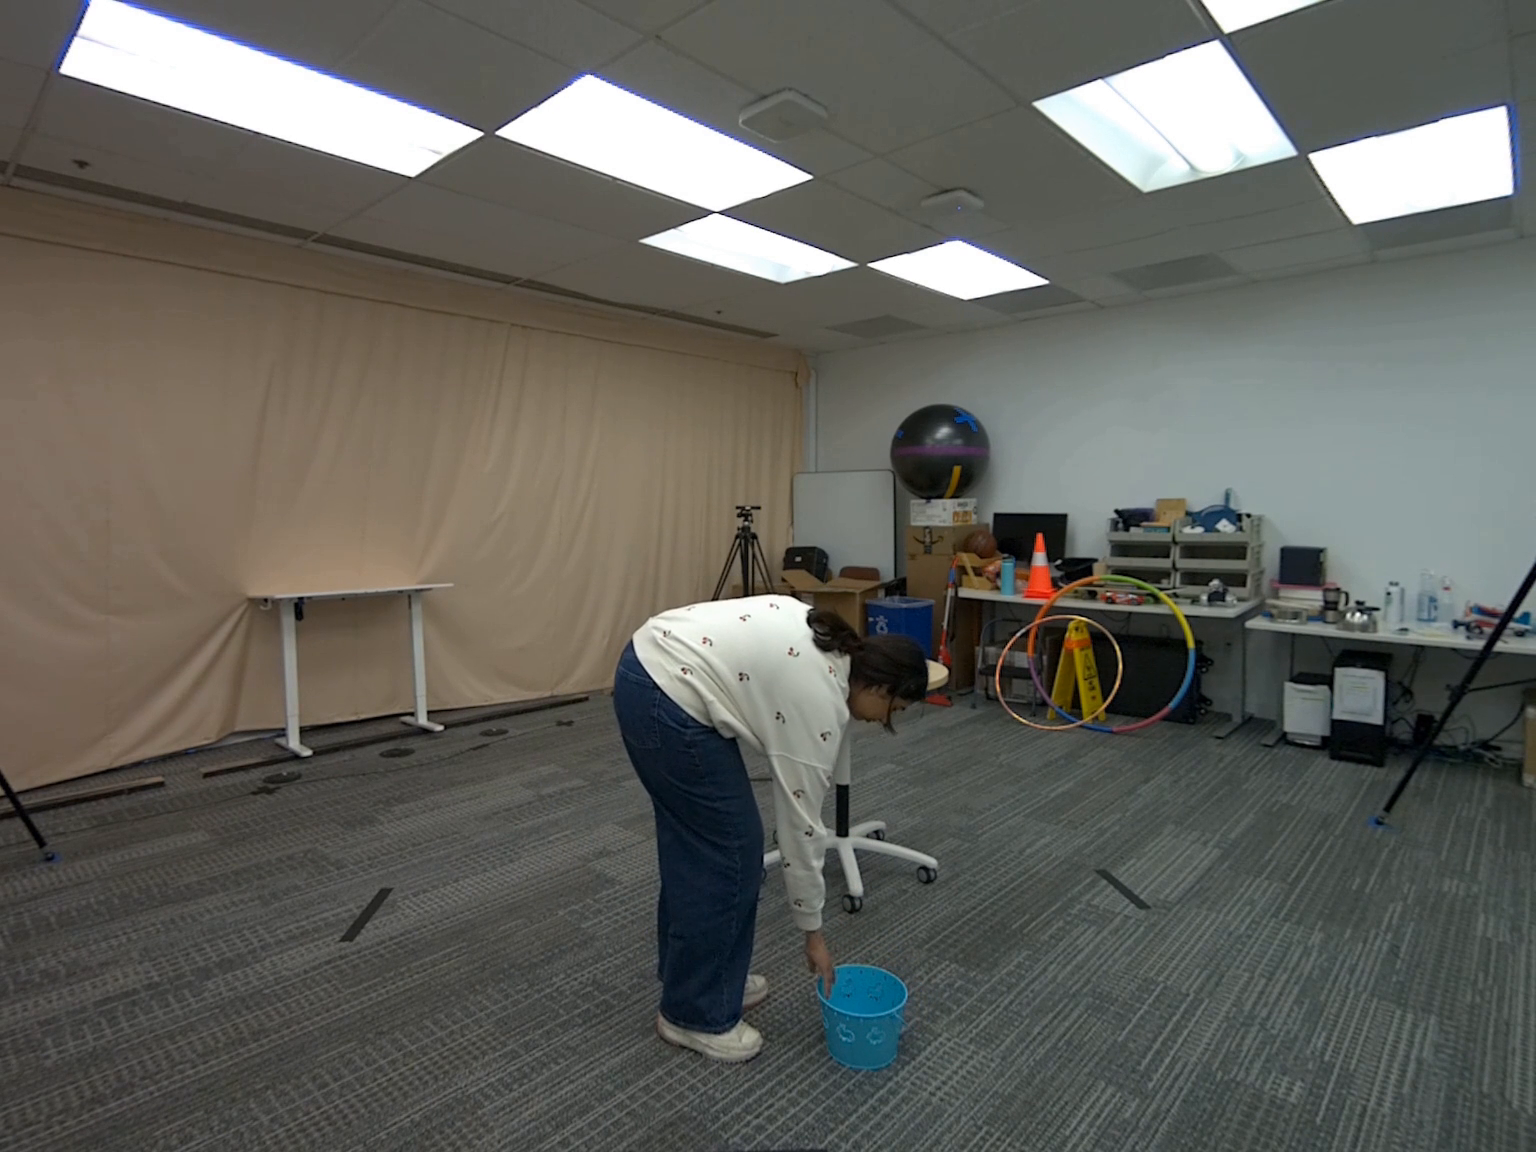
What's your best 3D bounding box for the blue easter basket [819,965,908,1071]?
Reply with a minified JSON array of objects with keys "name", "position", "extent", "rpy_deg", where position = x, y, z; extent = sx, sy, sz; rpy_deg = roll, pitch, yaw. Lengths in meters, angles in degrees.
[{"name":"blue easter basket","position":[0.253,1.141,2.150],"extent":[0.243,0.155,0.244],"rpy_deg":[1,4,-2]}]
